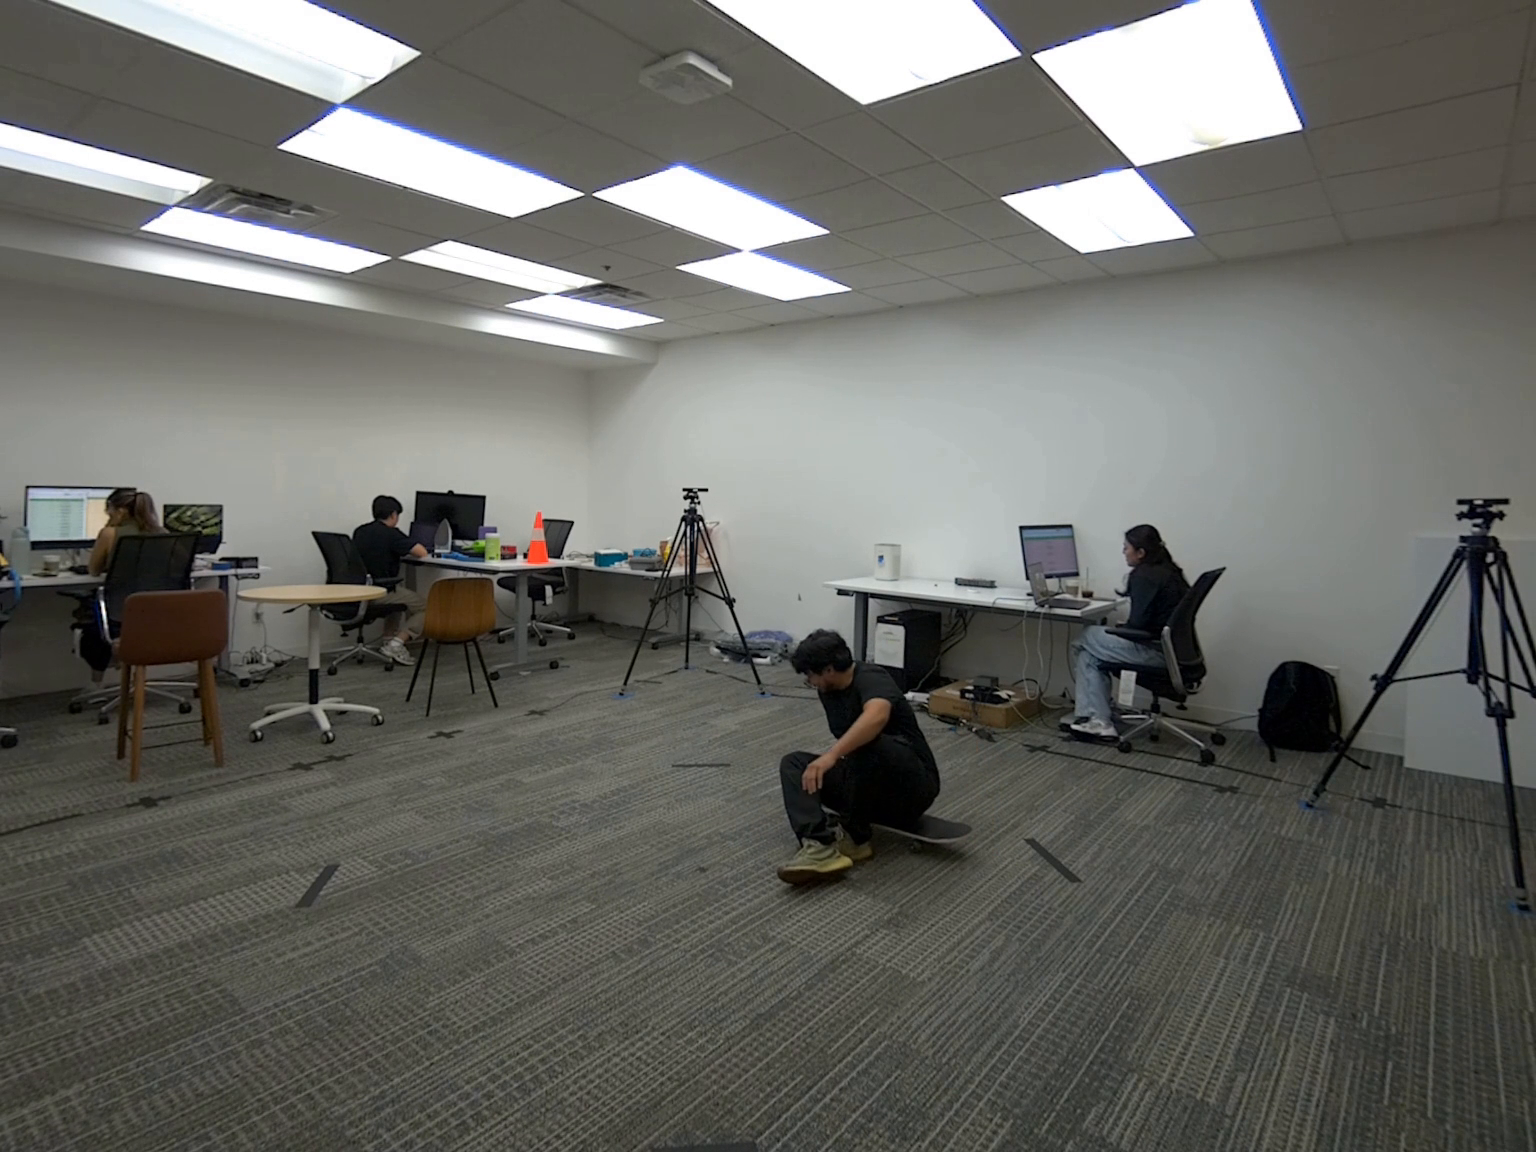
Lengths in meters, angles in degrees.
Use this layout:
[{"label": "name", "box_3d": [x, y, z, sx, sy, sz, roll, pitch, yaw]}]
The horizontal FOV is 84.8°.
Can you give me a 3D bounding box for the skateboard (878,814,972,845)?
[{"label": "skateboard", "box_3d": [0.438, 0.990, 3.471, 0.812, 0.109, 0.188, 6, 11, 39]}]
